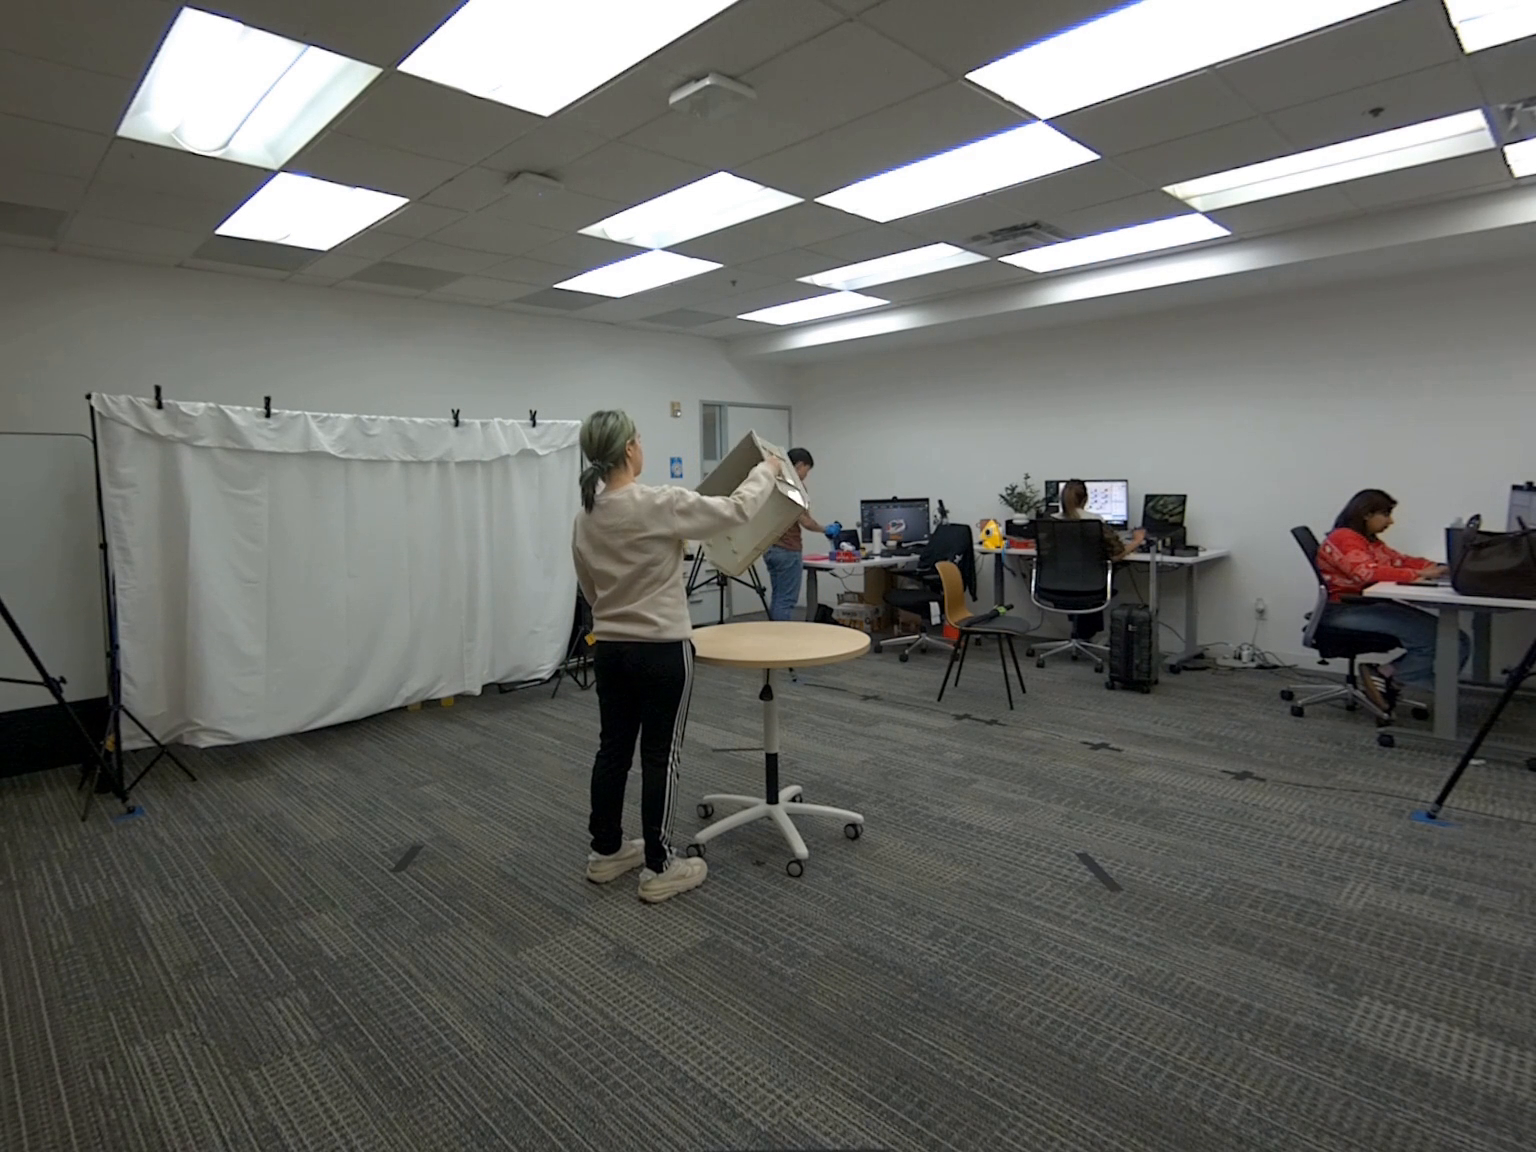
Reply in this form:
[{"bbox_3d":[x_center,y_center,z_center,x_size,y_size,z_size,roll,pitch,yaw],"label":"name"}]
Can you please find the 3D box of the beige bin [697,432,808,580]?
[{"bbox_3d":[-0.078,-0.269,3.295,0.182,0.391,0.423,21,-54,-41],"label":"beige bin"}]
